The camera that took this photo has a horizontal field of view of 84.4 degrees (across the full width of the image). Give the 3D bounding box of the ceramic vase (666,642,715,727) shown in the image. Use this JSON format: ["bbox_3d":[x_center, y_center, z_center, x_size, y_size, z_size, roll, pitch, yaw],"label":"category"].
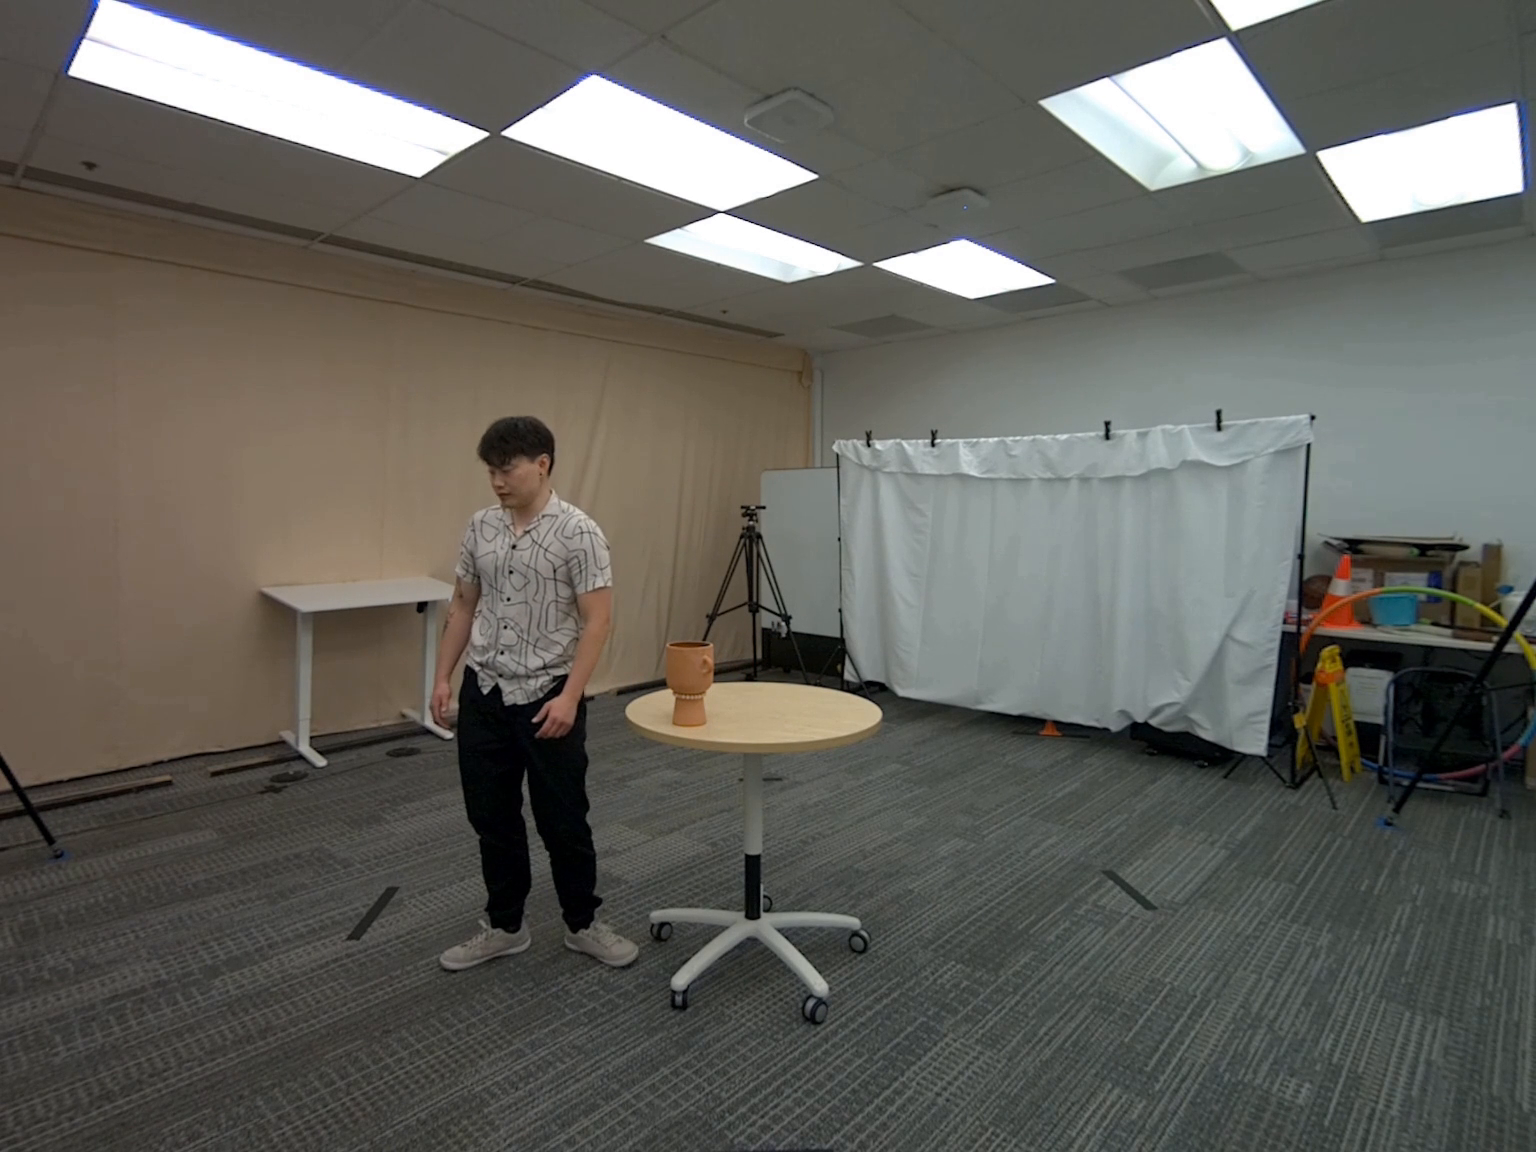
[{"bbox_3d":[-0.218,0.305,2.345,0.135,0.219,0.159,-1,4,-1],"label":"ceramic vase"}]
